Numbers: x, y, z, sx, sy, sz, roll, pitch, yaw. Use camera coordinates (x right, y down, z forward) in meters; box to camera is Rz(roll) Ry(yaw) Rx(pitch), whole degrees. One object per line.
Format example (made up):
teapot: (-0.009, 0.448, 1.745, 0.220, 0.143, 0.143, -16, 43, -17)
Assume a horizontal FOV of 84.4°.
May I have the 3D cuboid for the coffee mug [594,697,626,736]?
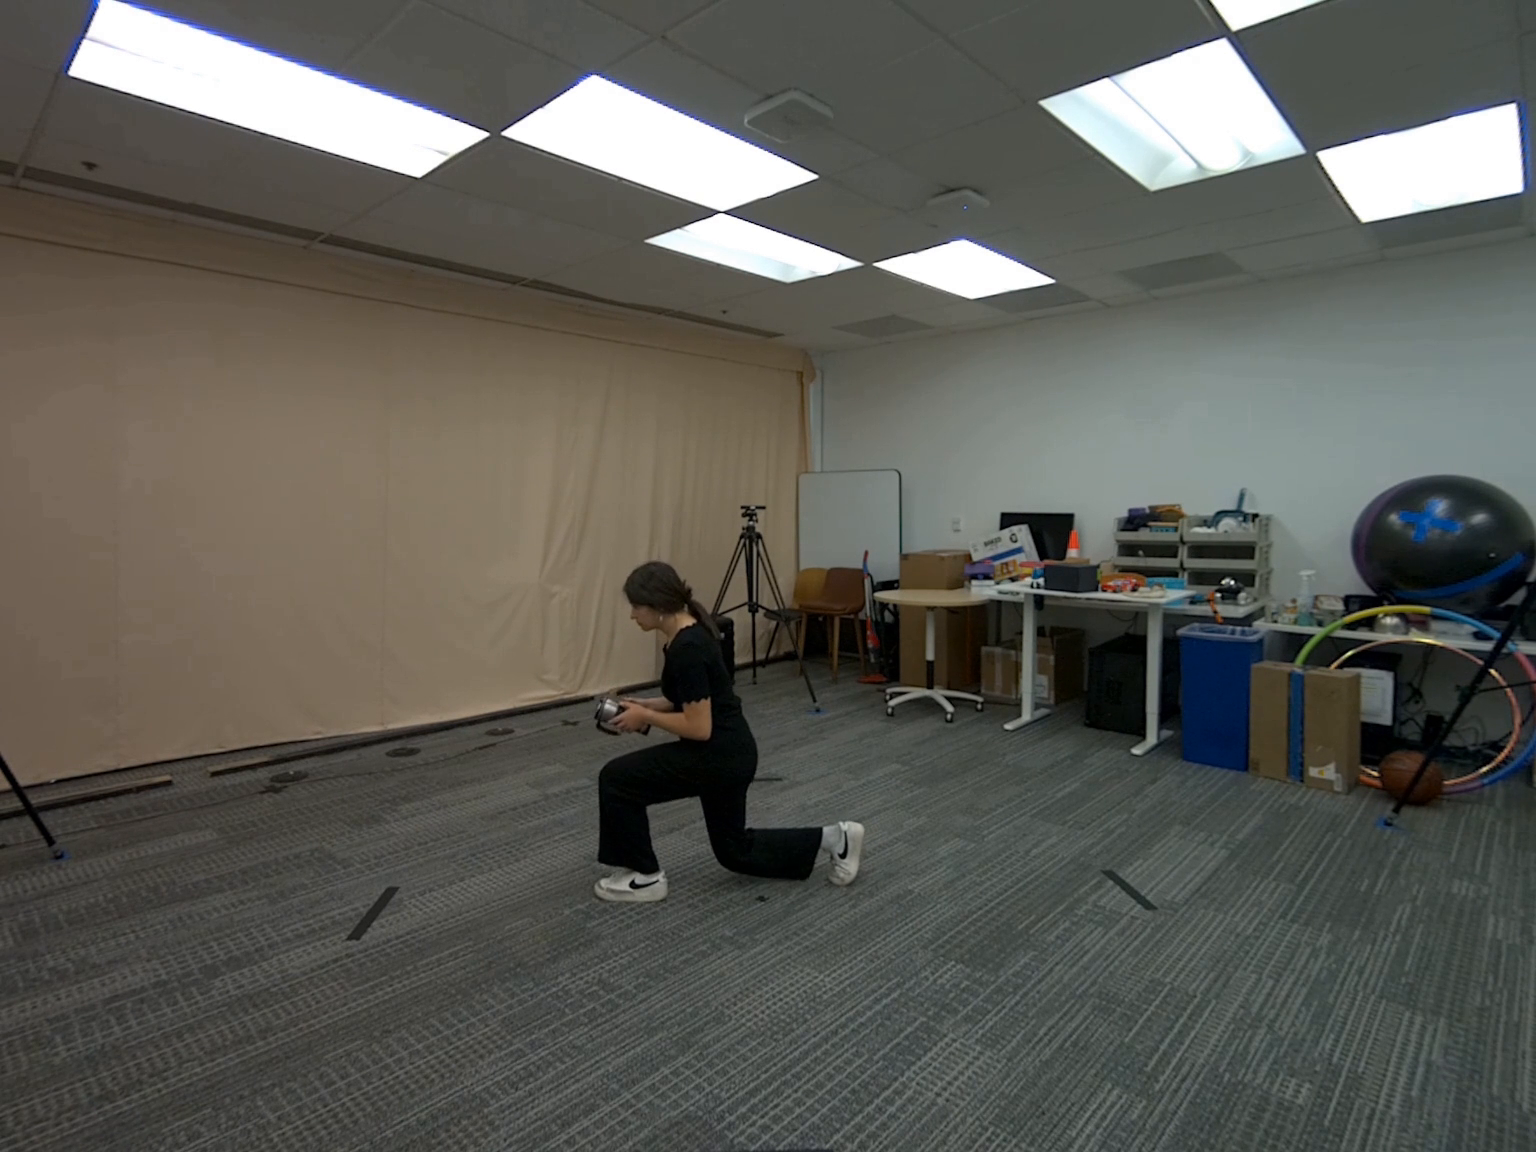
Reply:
coffee mug: (-0.515, 0.528, 3.024, 0.200, 0.122, 0.089, 19, -2, -10)
